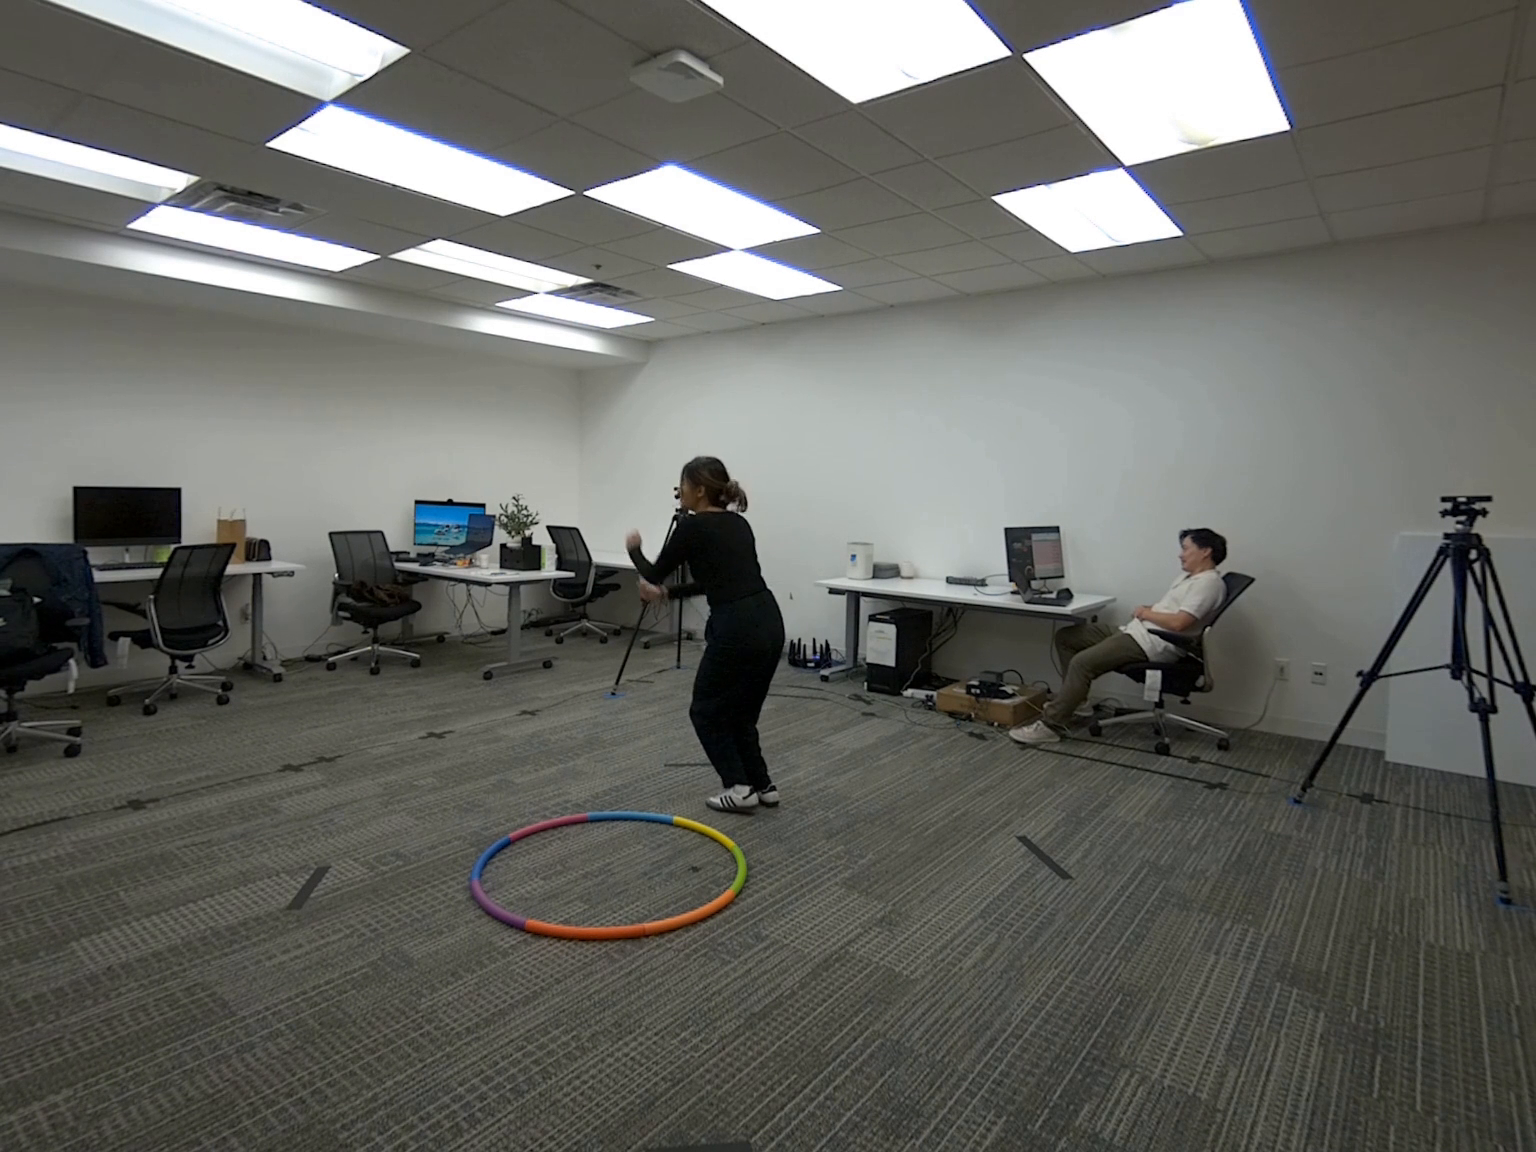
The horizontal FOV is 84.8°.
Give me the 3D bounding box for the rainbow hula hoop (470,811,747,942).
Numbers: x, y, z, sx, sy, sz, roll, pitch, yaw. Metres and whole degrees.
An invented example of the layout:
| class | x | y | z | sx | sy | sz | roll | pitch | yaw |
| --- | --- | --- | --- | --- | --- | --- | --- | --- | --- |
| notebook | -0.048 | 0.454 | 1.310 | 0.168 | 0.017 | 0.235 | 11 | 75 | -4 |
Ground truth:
| class | x | y | z | sx | sy | sz | roll | pitch | yaw |
| --- | --- | --- | --- | --- | --- | --- | --- | --- | --- |
| rainbow hula hoop | -0.573 | 1.035 | 3.084 | 0.978 | 0.035 | 0.984 | 1 | 6 | -2 |
